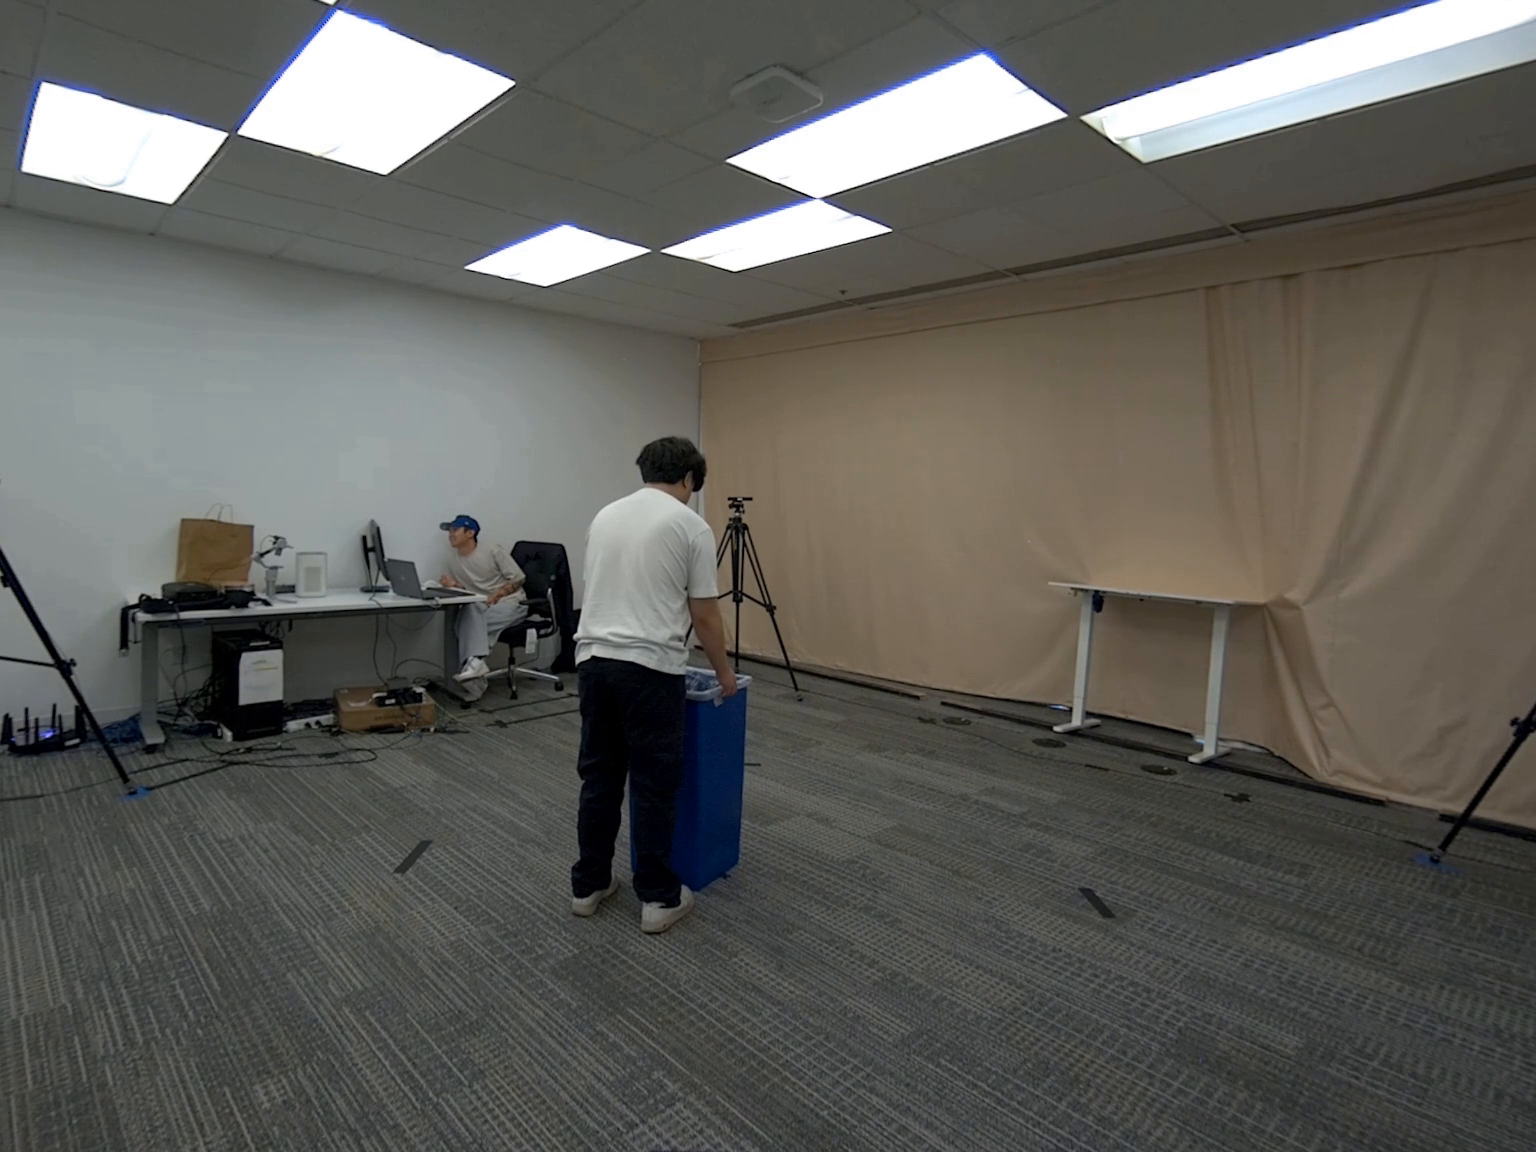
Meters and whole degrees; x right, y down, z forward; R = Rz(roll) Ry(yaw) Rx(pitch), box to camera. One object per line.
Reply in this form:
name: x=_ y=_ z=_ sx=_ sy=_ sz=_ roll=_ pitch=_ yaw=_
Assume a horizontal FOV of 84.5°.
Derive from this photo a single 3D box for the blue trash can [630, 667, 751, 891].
blue trash can: x=-0.312 y=0.734 z=3.151 sx=0.382 sy=0.712 sz=0.371 roll=4 pitch=3 yaw=29
